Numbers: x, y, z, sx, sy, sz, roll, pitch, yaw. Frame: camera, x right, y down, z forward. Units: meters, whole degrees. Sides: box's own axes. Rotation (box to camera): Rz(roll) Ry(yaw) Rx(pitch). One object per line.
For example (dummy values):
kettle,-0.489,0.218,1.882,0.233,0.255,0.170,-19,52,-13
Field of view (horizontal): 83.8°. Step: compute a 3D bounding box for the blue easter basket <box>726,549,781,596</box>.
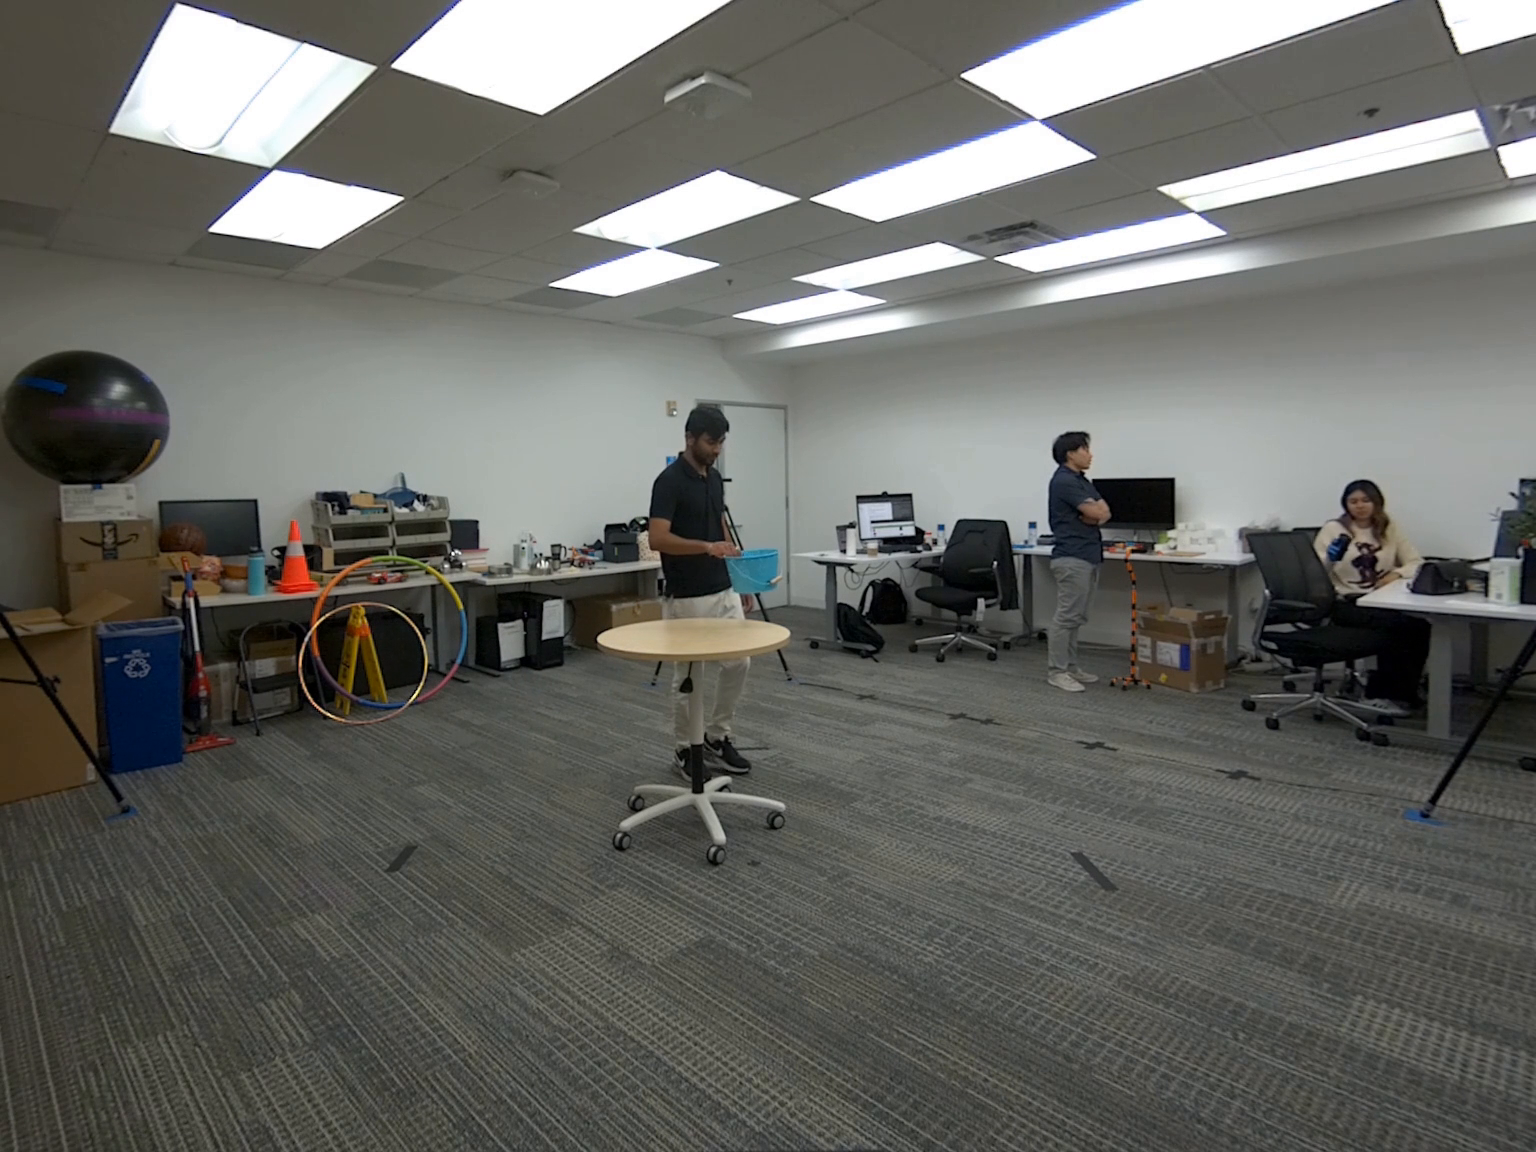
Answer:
blue easter basket,-0.058,-0.014,3.519,0.243,0.155,0.245,-5,6,-1
